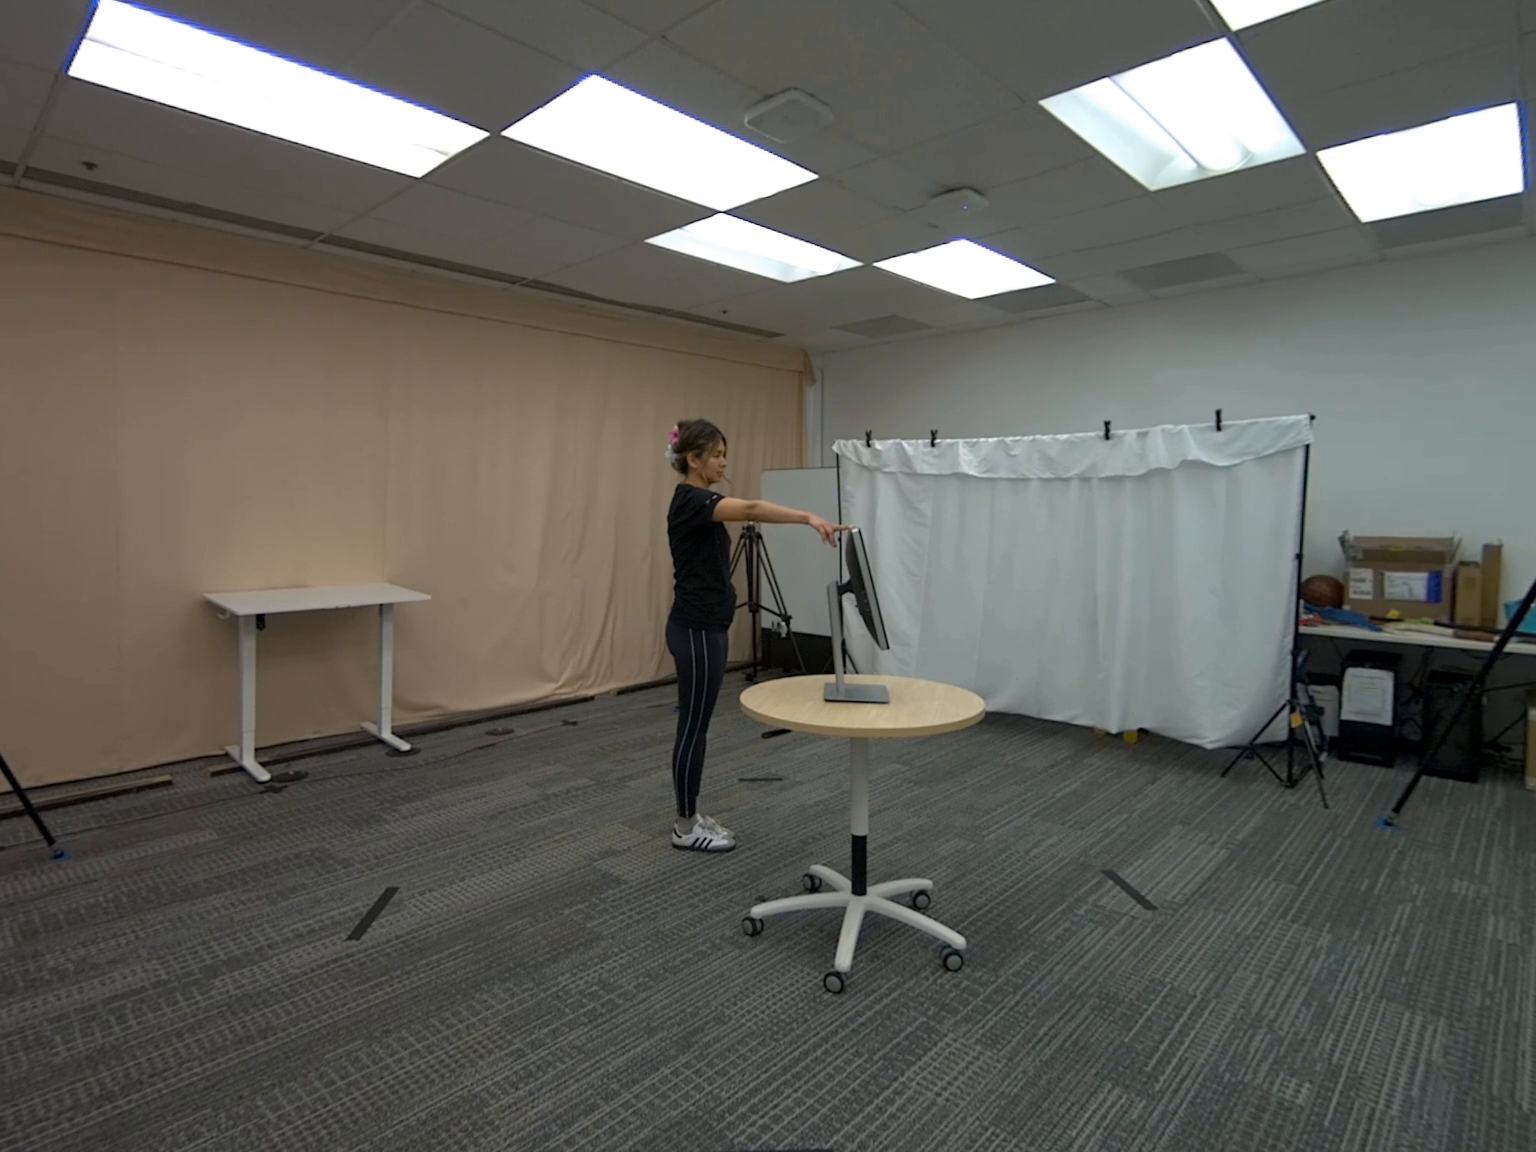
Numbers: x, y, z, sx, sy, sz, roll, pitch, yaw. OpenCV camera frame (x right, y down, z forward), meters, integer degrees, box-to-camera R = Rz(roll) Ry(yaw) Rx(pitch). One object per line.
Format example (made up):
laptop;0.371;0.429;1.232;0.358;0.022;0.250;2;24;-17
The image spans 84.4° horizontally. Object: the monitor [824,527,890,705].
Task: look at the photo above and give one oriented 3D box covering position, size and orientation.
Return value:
monitor;0.284;0.124;2.724;0.188;0.522;0.537;0;3;4
